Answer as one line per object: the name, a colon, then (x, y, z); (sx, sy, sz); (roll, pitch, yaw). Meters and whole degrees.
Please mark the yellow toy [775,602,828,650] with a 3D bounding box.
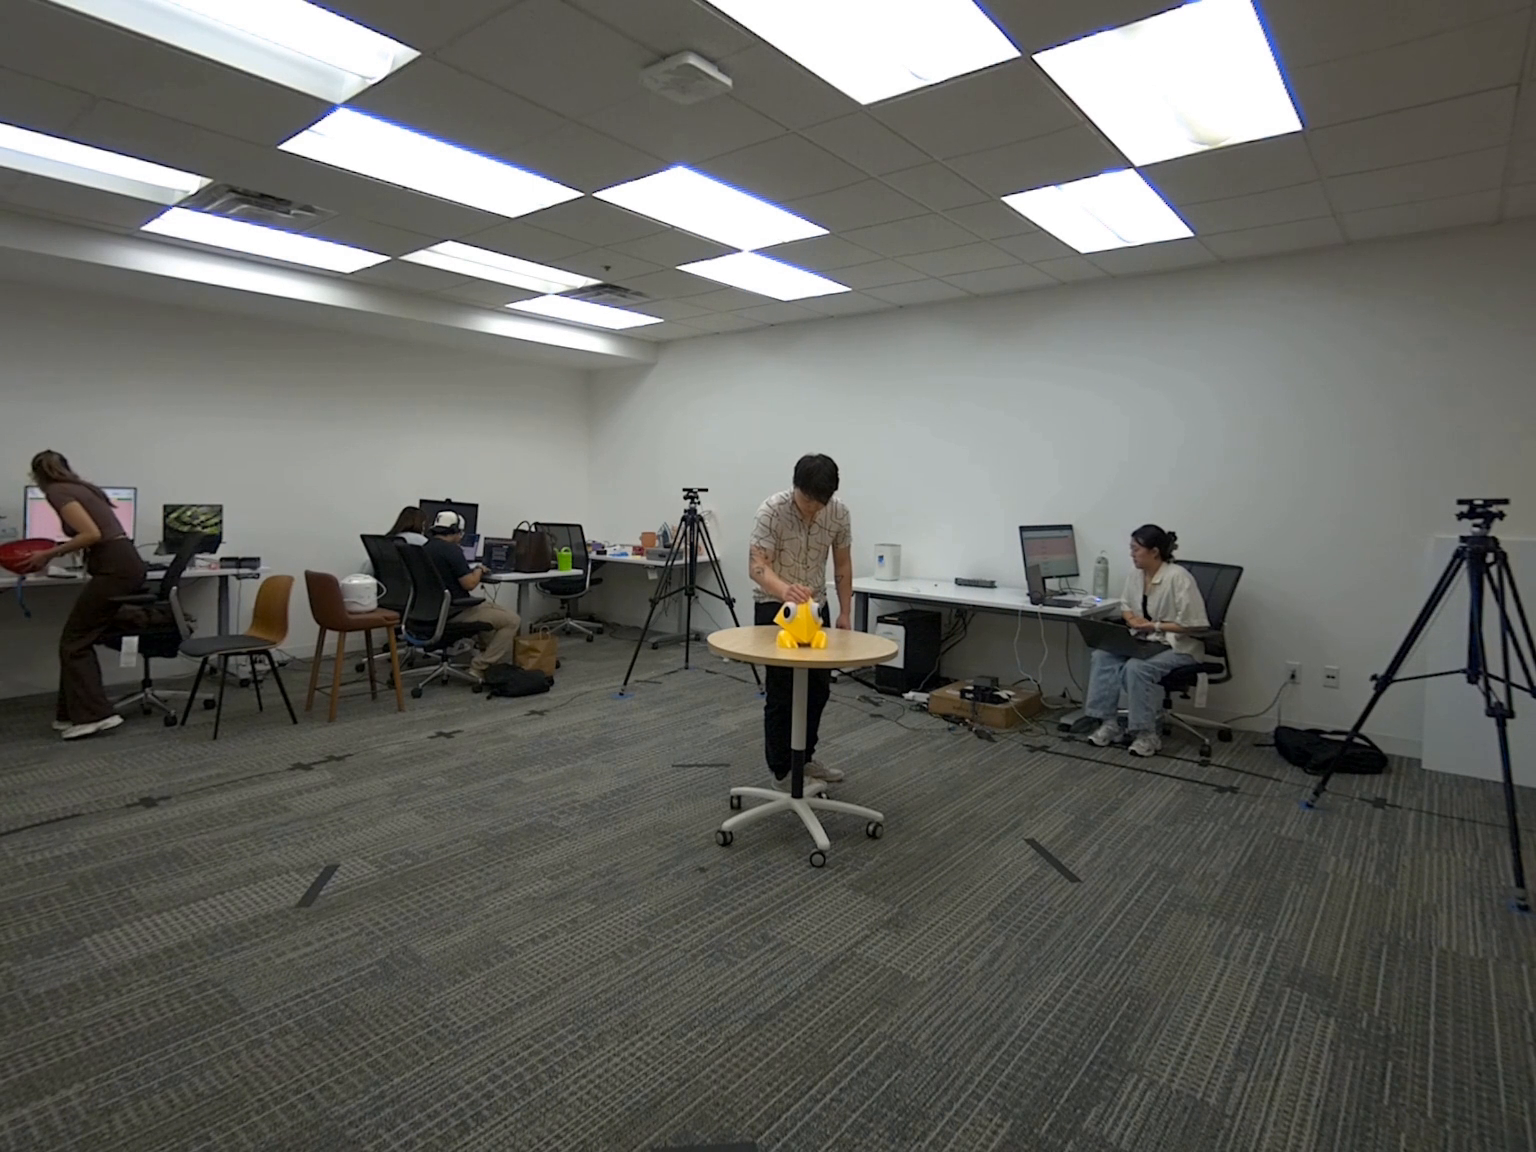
yellow toy: (0.132, 0.154, 3.373); (0.203, 0.230, 0.195); (2, 4, -8)
